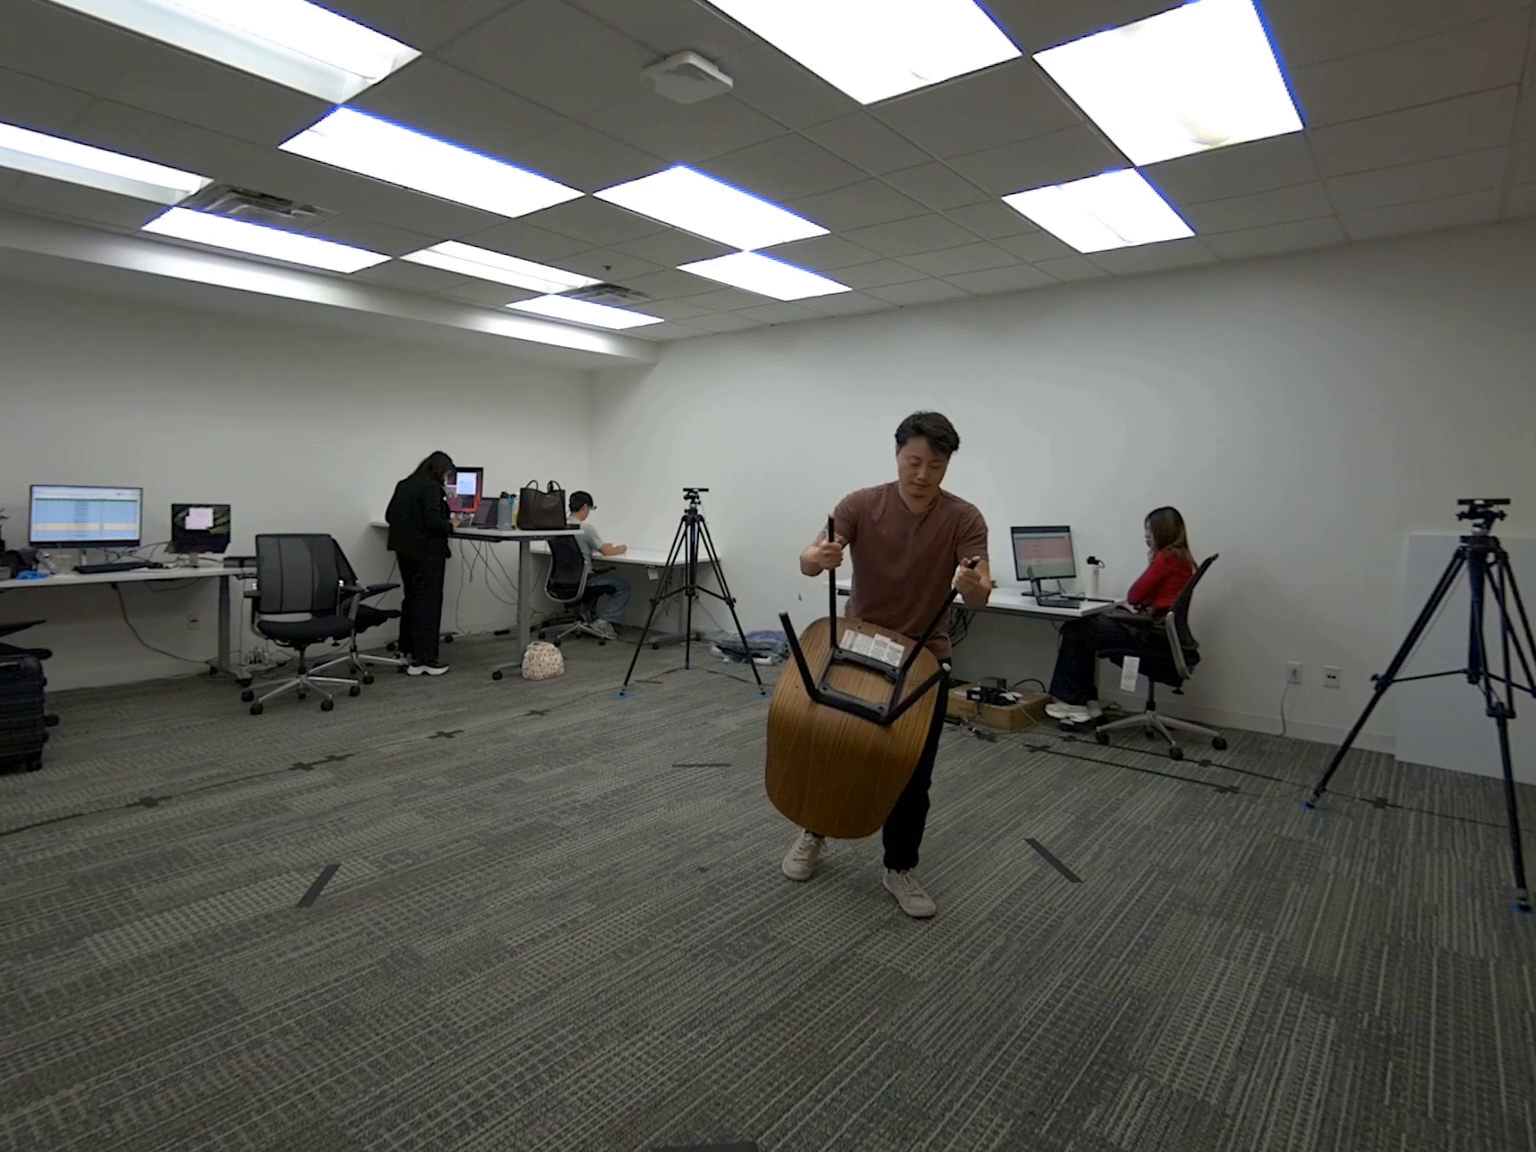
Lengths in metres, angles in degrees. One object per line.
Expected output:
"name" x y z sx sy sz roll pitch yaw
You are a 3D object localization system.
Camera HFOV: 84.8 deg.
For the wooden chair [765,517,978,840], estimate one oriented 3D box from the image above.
"wooden chair" 0.267 0.330 2.600 0.487 0.857 0.526 18 39 13
